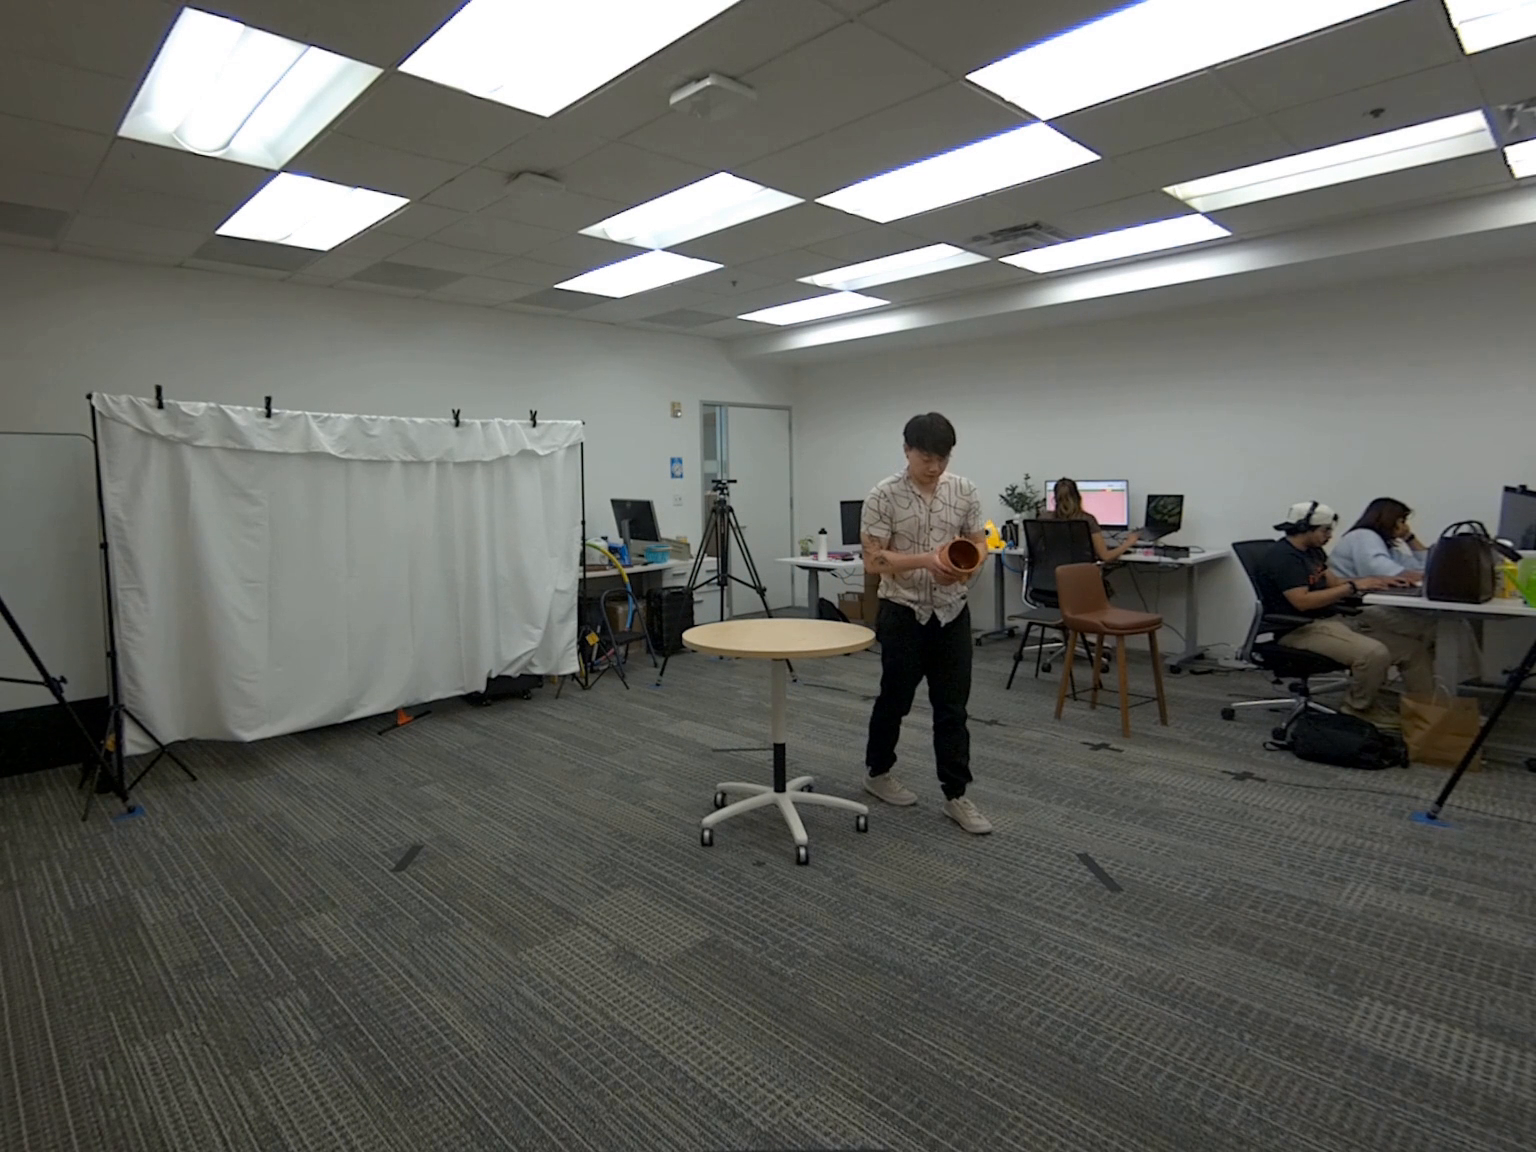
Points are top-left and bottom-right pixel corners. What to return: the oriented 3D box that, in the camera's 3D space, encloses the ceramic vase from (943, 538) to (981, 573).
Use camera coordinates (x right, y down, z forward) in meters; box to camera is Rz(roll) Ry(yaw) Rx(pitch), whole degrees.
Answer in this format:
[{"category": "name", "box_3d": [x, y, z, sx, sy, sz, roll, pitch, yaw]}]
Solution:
[{"category": "ceramic vase", "box_3d": [0.701, -0.040, 3.250, 0.136, 0.159, 0.217, 35, -20, 6]}]
